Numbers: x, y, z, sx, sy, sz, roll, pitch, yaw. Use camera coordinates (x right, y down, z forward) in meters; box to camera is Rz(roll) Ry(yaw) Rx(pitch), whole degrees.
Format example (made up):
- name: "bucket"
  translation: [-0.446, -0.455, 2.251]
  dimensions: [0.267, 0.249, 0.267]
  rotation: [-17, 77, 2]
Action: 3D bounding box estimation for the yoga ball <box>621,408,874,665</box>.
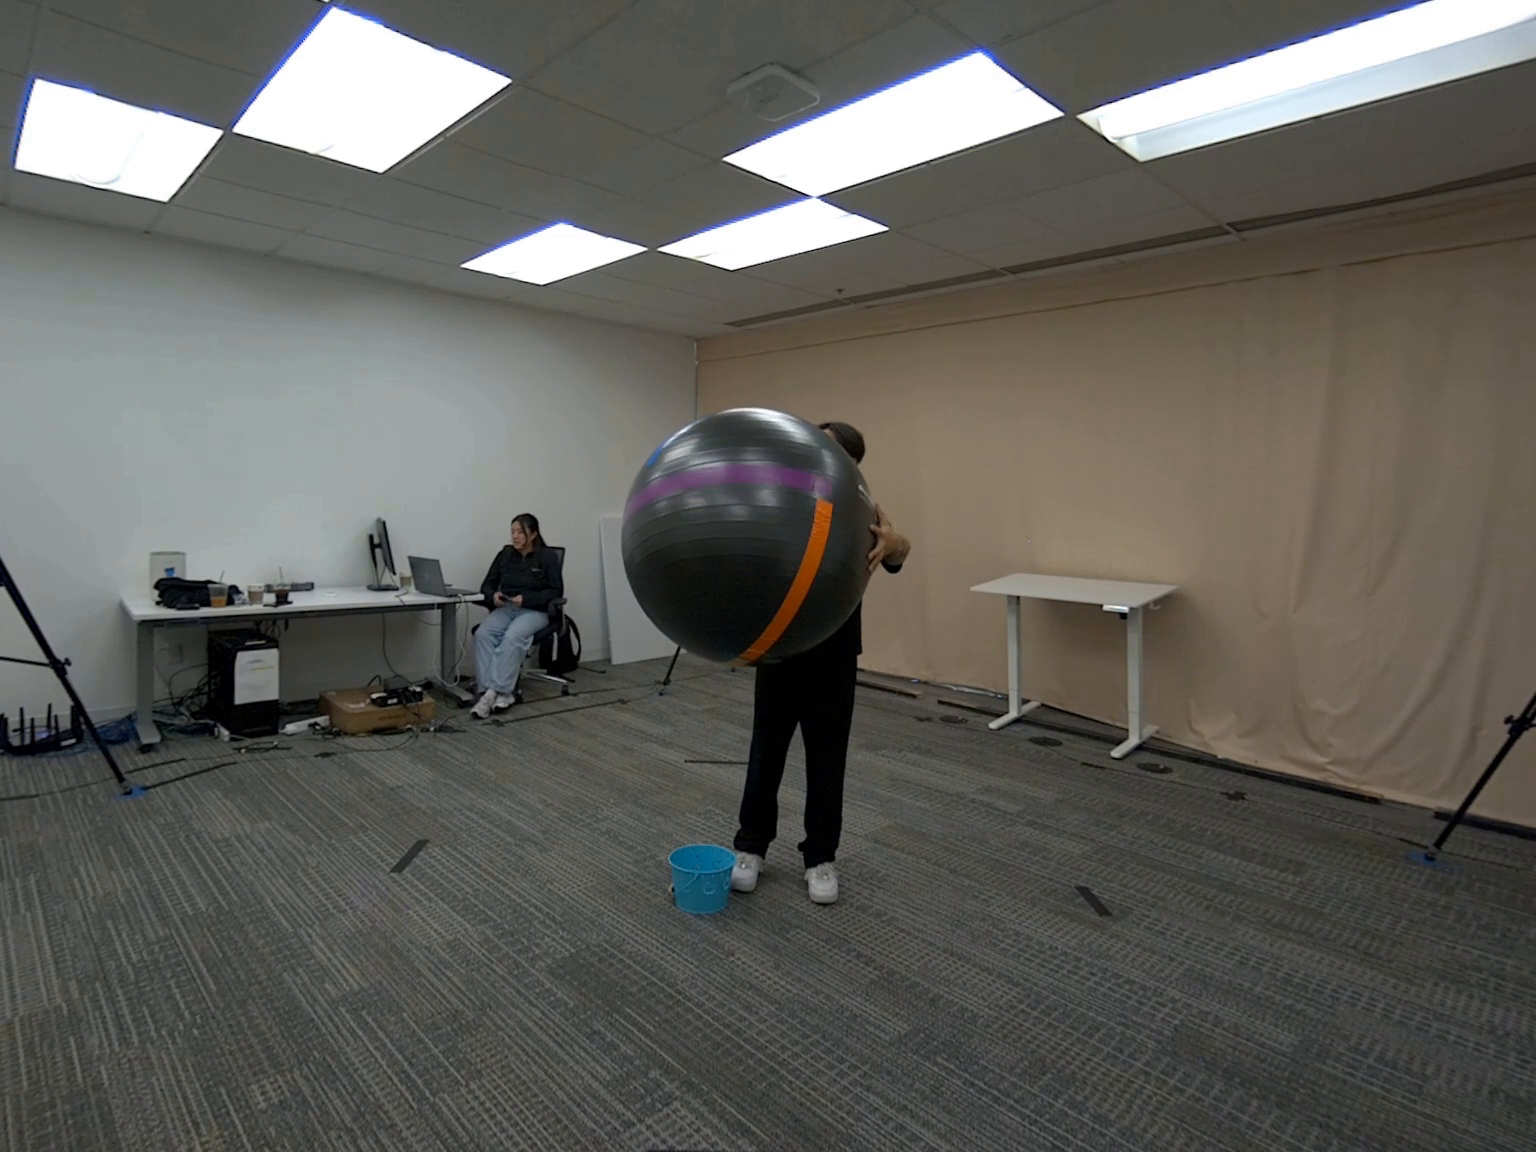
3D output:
- name: "yoga ball"
  translation: [-0.062, -0.101, 2.502]
  dimensions: [0.757, 0.756, 0.761]
  rotation: [1, 4, -1]
